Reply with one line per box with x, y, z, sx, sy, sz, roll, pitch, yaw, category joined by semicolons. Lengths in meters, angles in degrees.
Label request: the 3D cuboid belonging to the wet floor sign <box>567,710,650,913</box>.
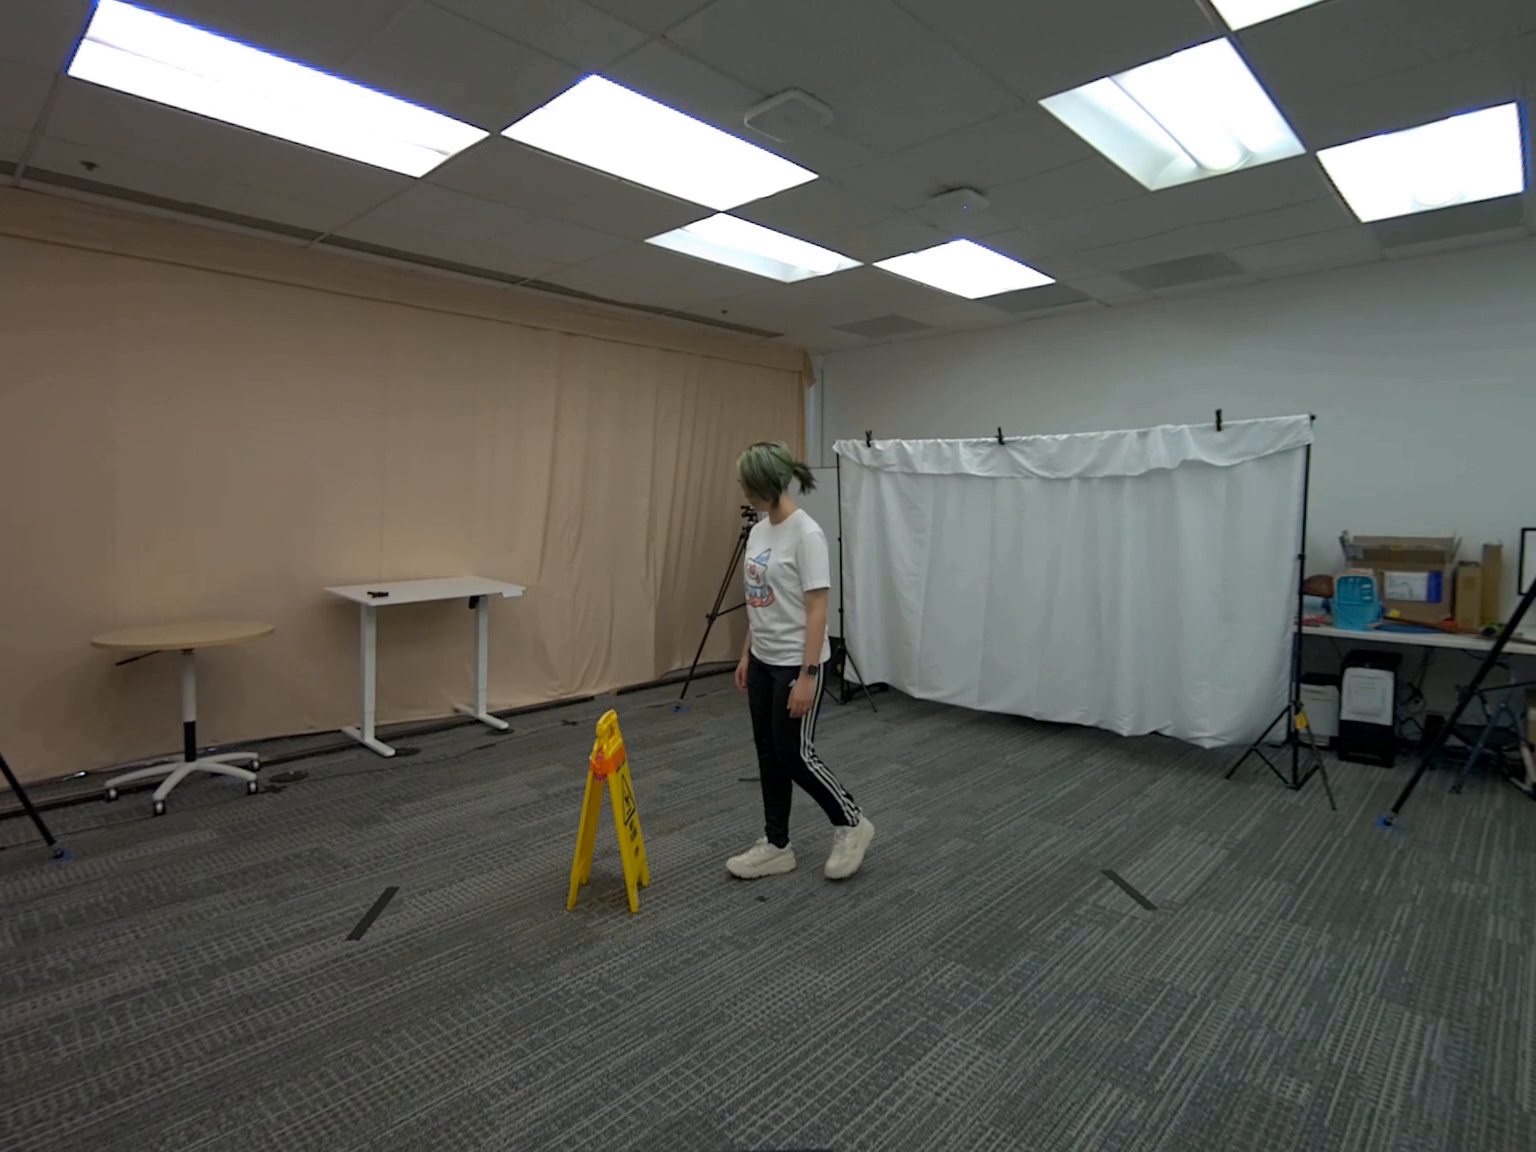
-0.574;0.821;3.021;0.291;0.645;0.281;-1;2;3;wet floor sign
